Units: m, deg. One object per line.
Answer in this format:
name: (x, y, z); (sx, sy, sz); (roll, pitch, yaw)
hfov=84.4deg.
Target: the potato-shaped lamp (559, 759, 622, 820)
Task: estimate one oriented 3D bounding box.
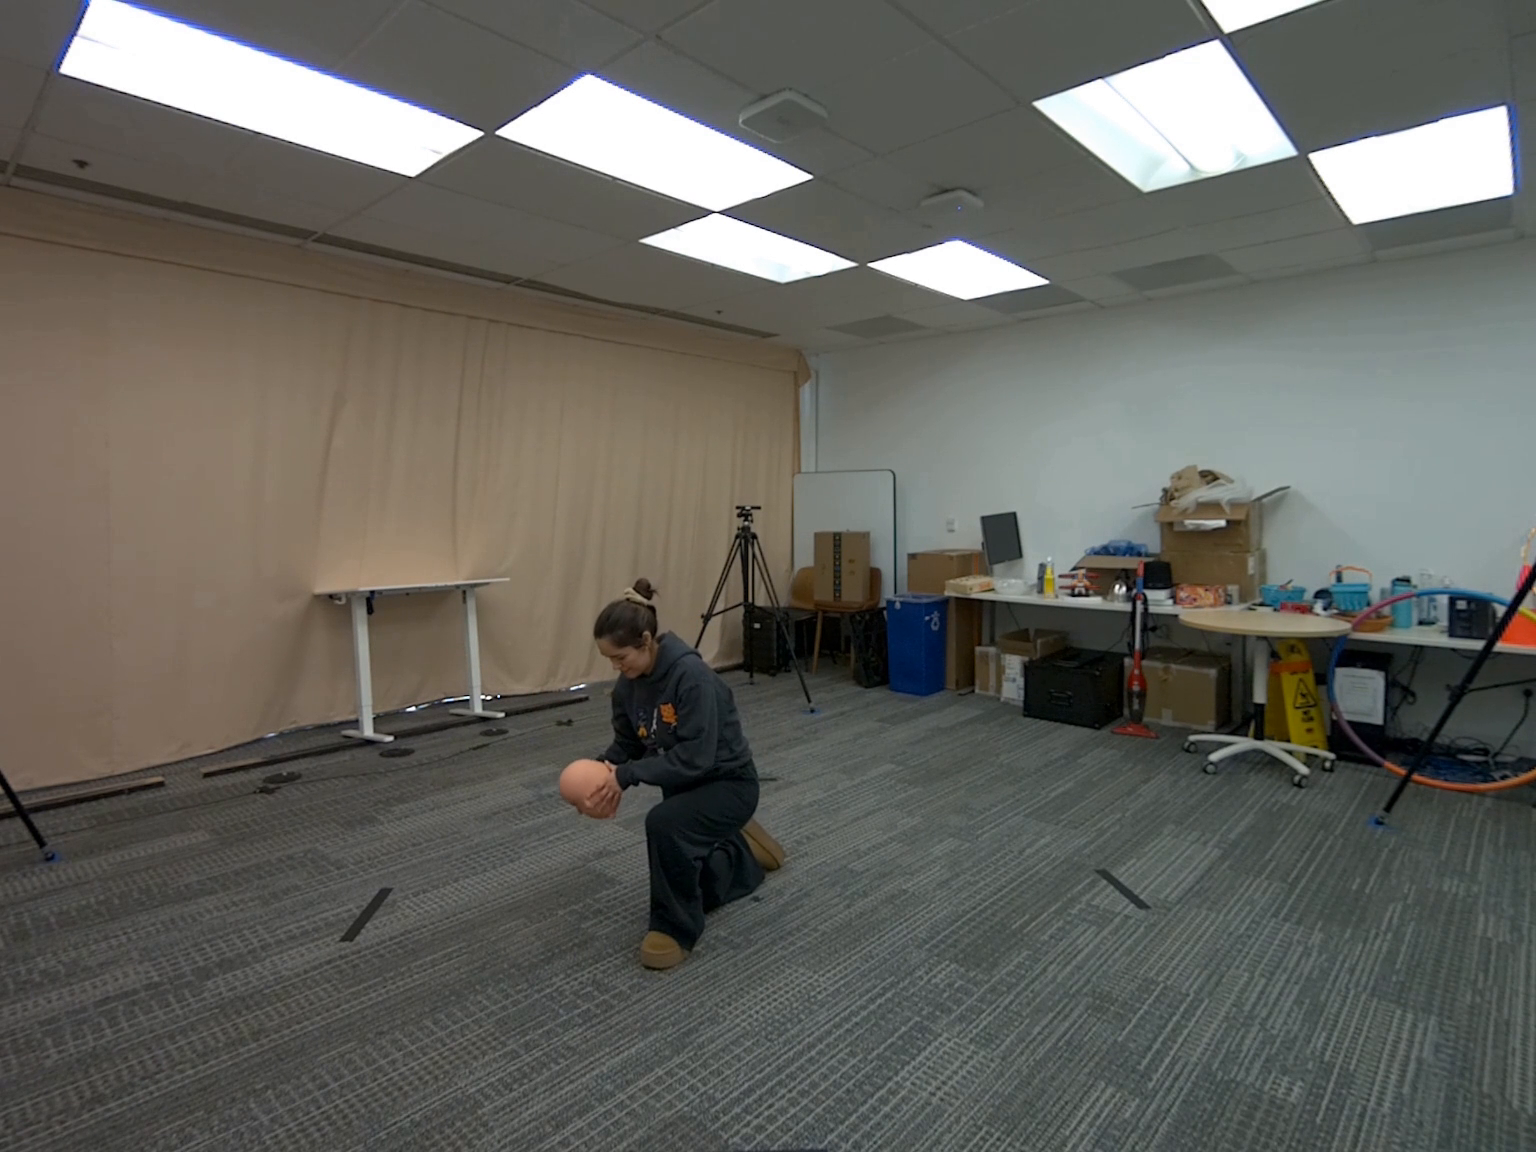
potato-shaped lamp: (-0.552, 0.689, 2.712); (0.198, 0.171, 0.164); (11, 2, 0)
